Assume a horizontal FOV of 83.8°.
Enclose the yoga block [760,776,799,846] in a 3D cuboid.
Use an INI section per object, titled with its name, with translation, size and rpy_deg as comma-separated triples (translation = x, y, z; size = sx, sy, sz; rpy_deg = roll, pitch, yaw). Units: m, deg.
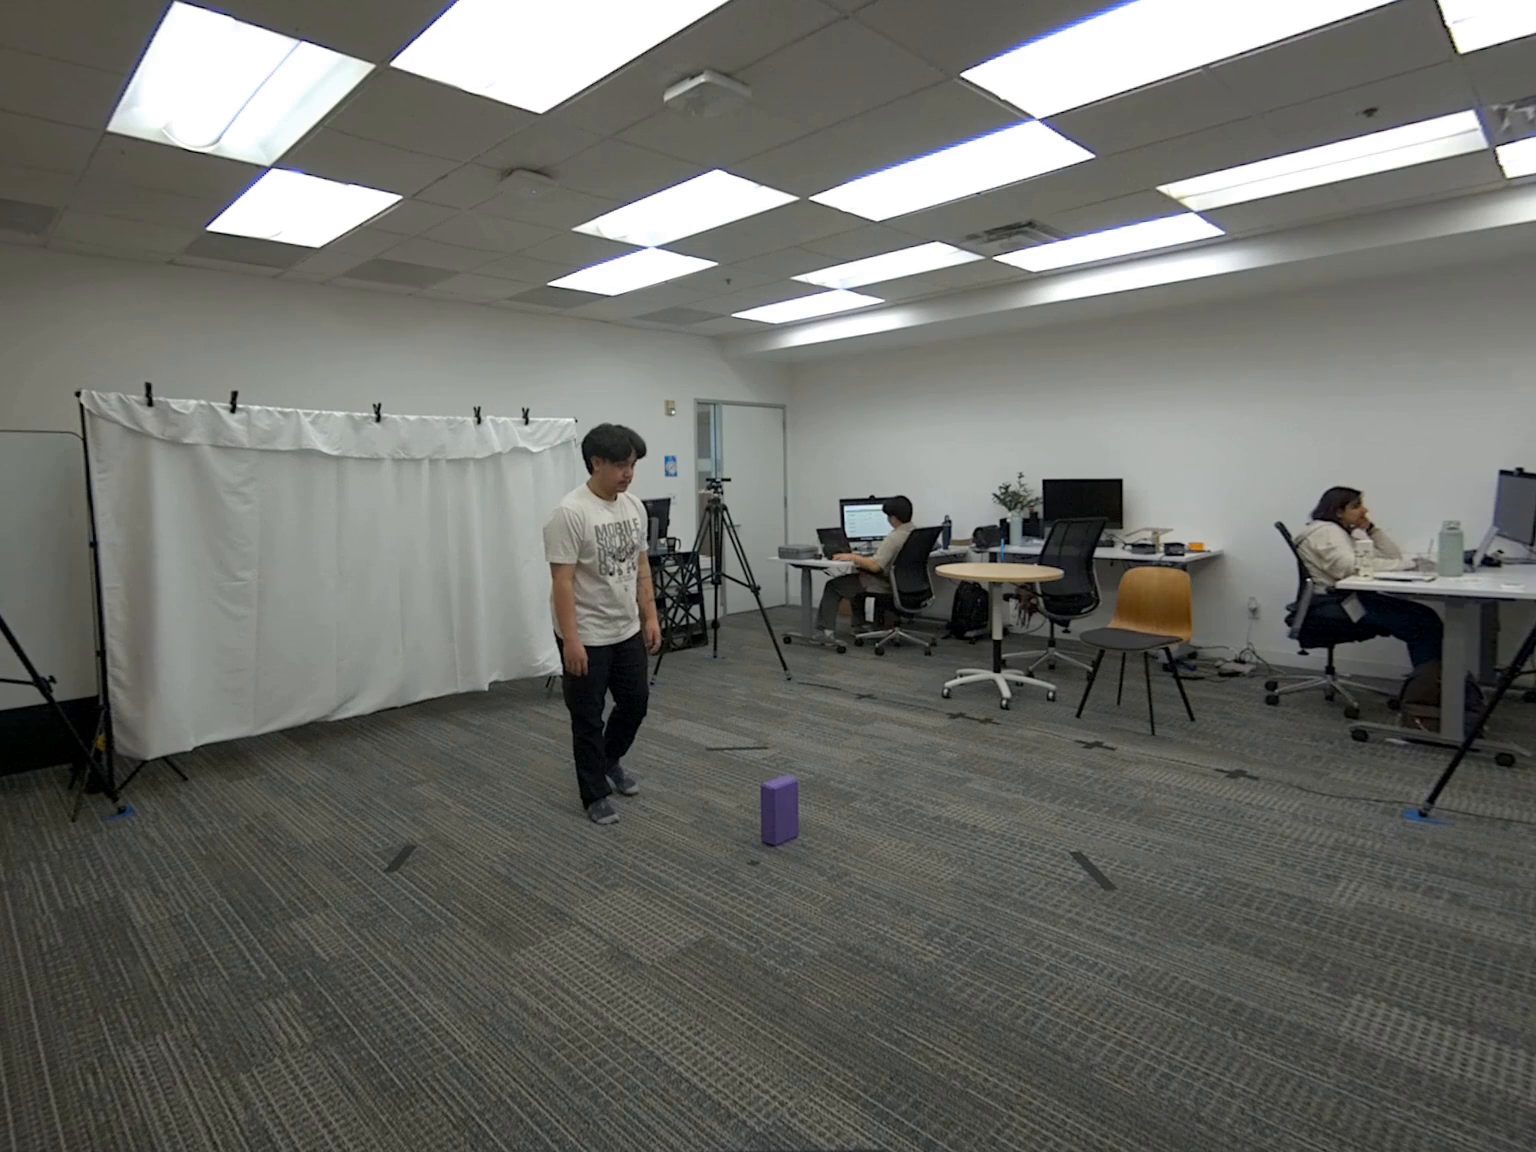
[yoga block]
translation = 0.049, 0.903, 3.302
size = 0.145, 0.229, 0.079
rpy_deg = -3, 5, -44
